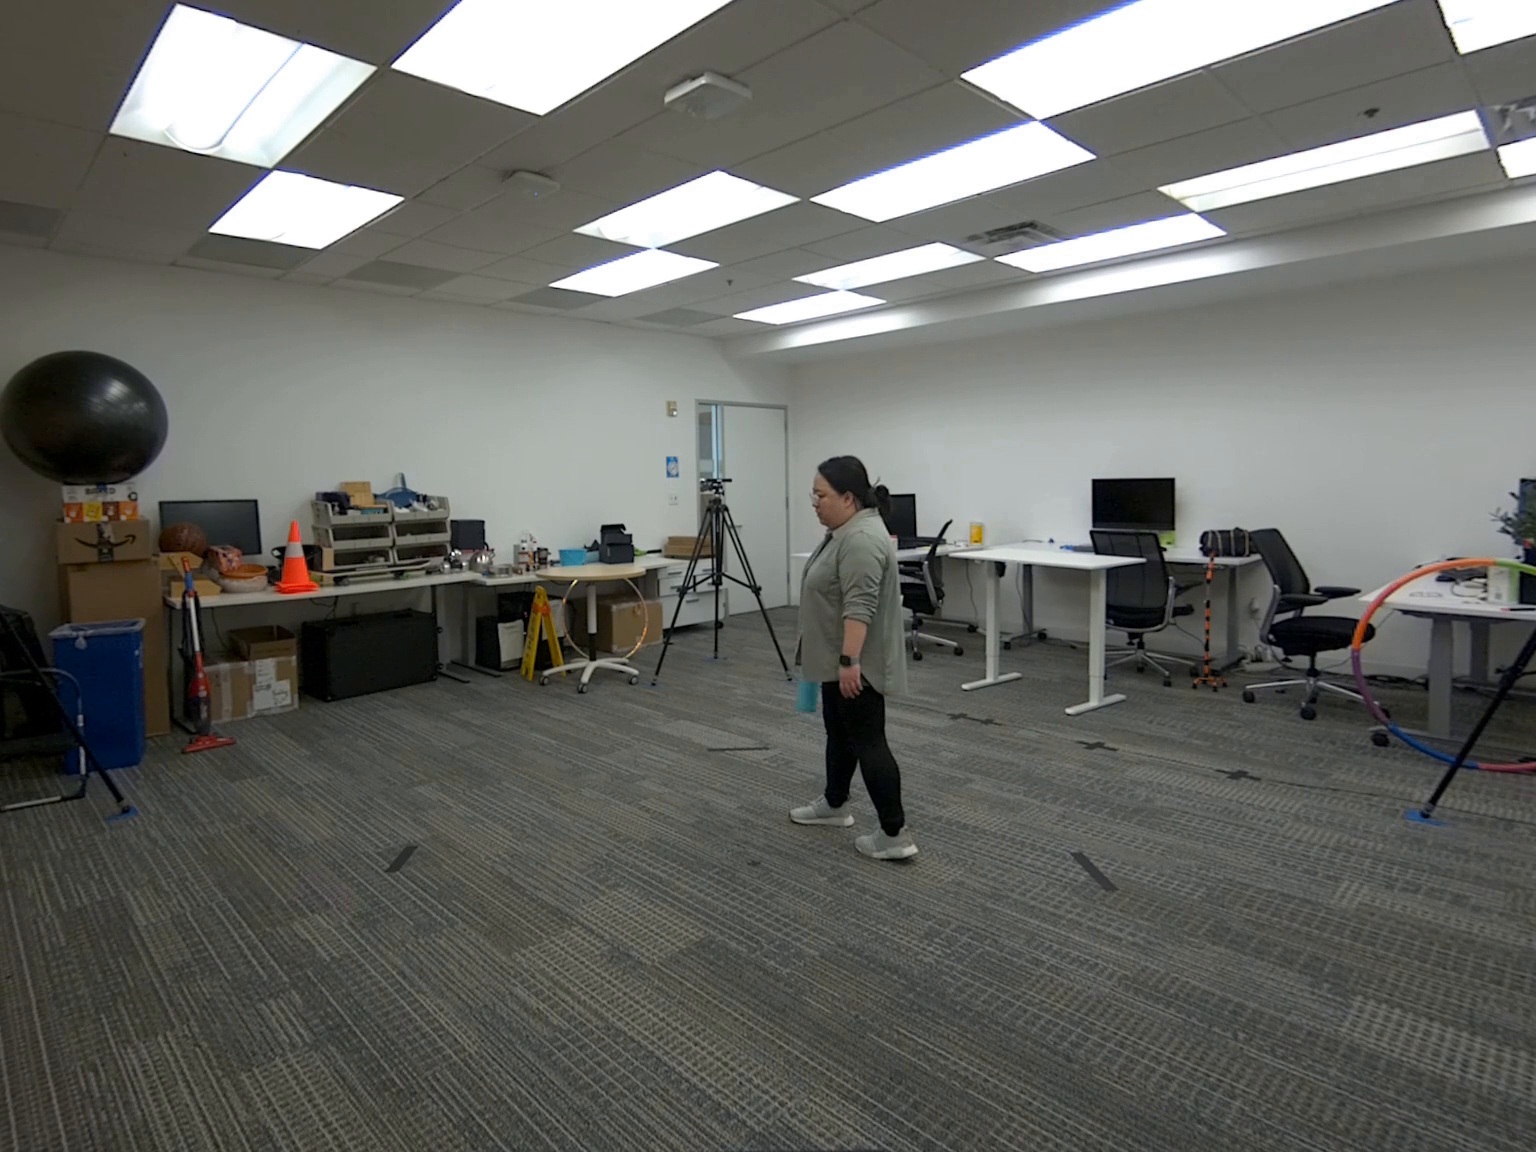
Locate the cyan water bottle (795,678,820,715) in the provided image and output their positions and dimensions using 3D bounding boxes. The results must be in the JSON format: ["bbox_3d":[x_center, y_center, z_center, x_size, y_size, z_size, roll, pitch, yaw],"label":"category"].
[{"bbox_3d":[0.193,0.436,3.602,0.092,0.284,0.092,4,-3,-2],"label":"cyan water bottle"}]
